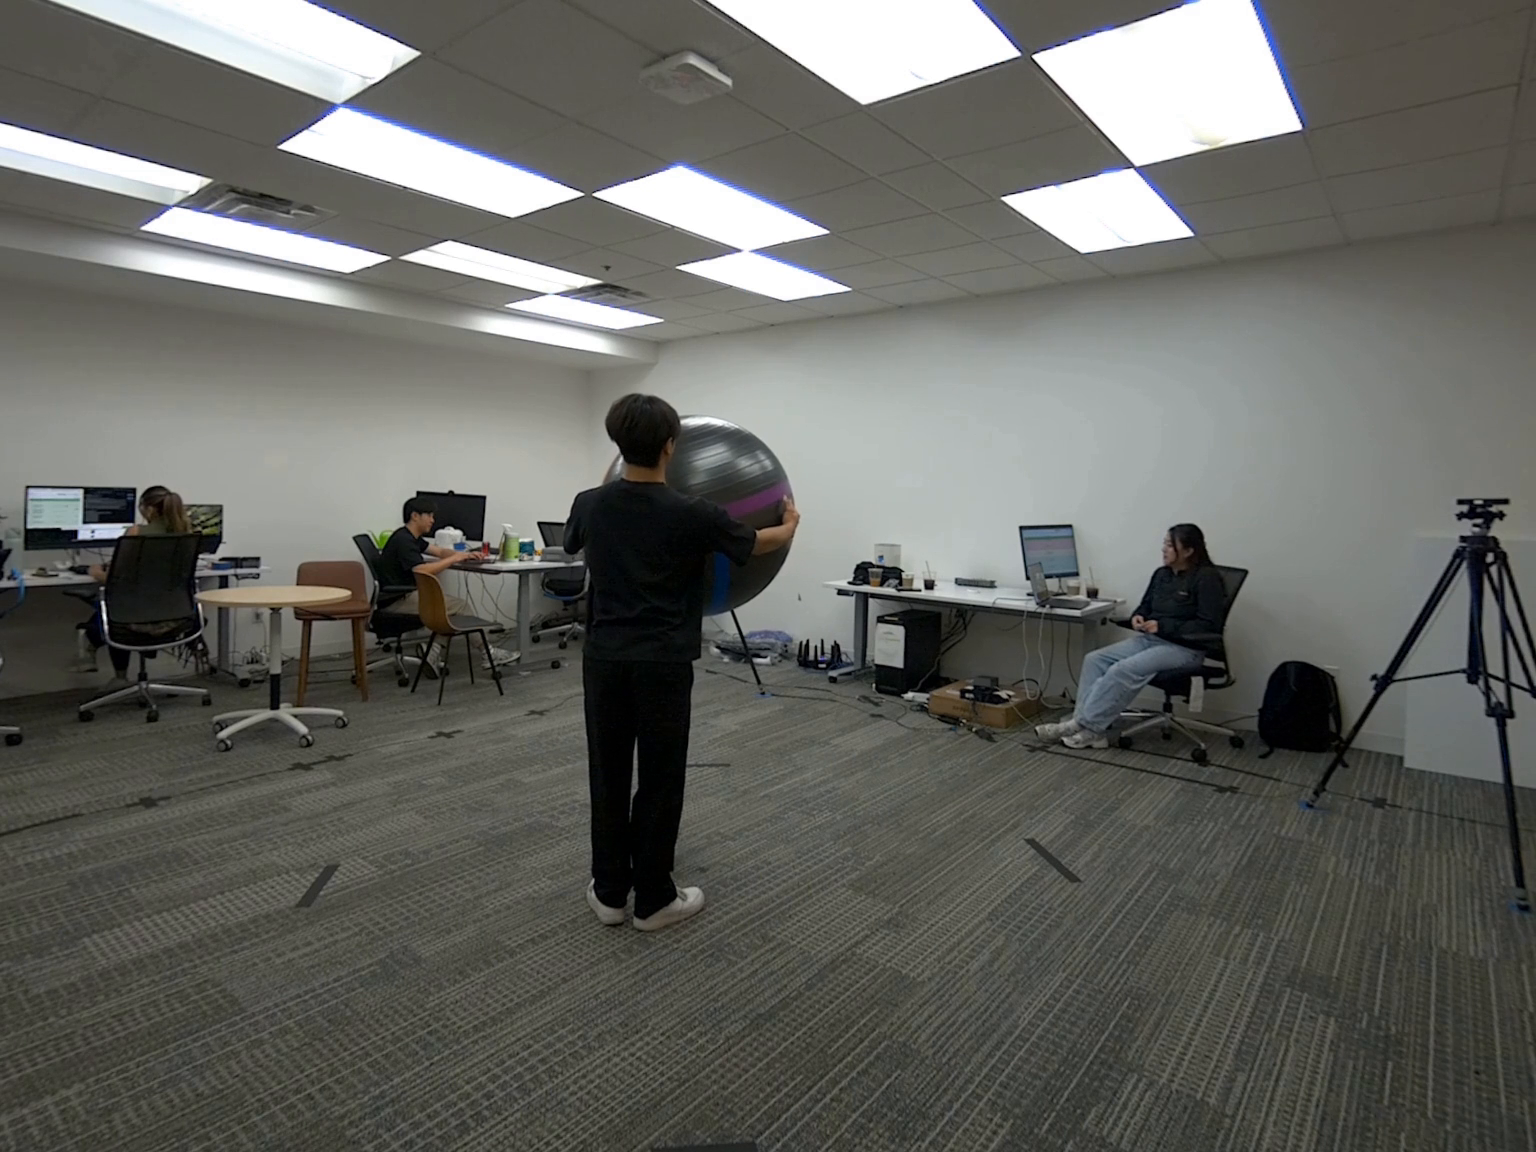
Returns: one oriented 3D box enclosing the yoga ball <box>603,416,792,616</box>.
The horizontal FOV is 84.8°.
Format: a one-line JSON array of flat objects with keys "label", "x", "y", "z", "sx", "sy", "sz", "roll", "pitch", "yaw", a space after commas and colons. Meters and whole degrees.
[{"label": "yoga ball", "x": -0.284, "y": -0.229, "z": 3.253, "sx": 0.757, "sy": 0.756, "sz": 0.761, "roll": 1, "pitch": 4, "yaw": -2}]
